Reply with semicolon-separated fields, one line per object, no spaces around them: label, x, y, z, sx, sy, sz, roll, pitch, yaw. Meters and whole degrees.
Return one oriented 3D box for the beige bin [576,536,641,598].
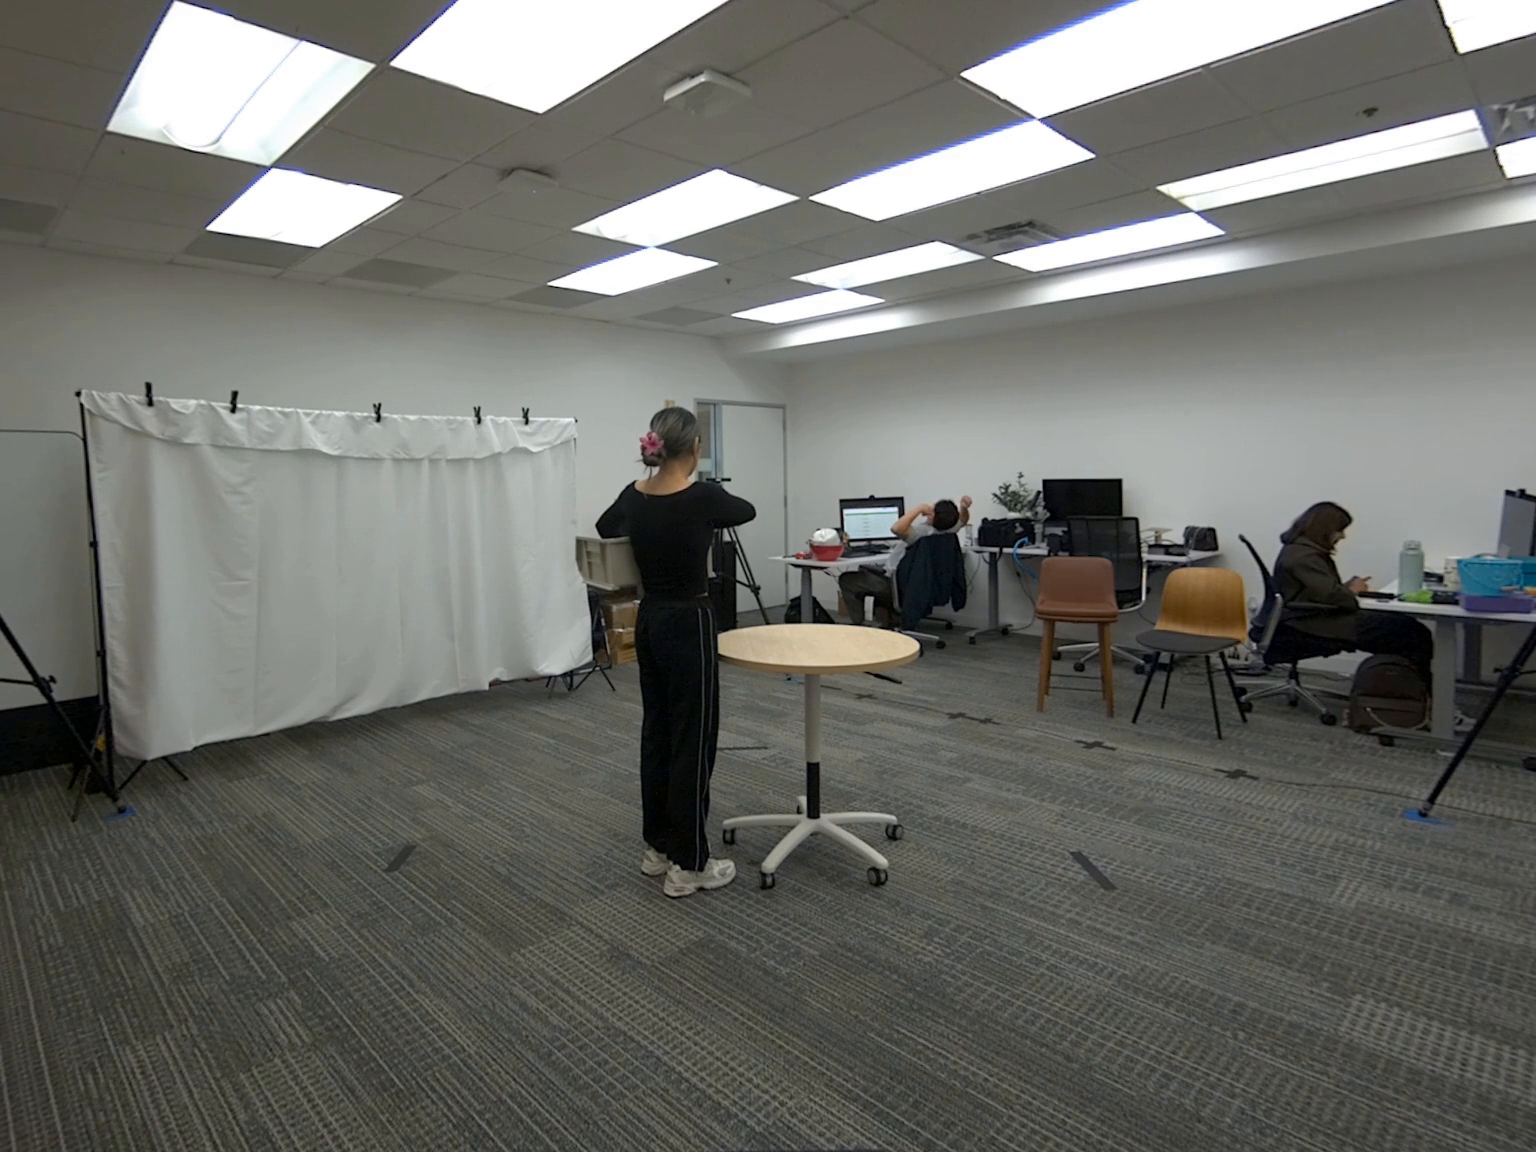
beige bin;-0.466;-0.077;3.204;0.413;0.188;0.388;-8;9;-28
